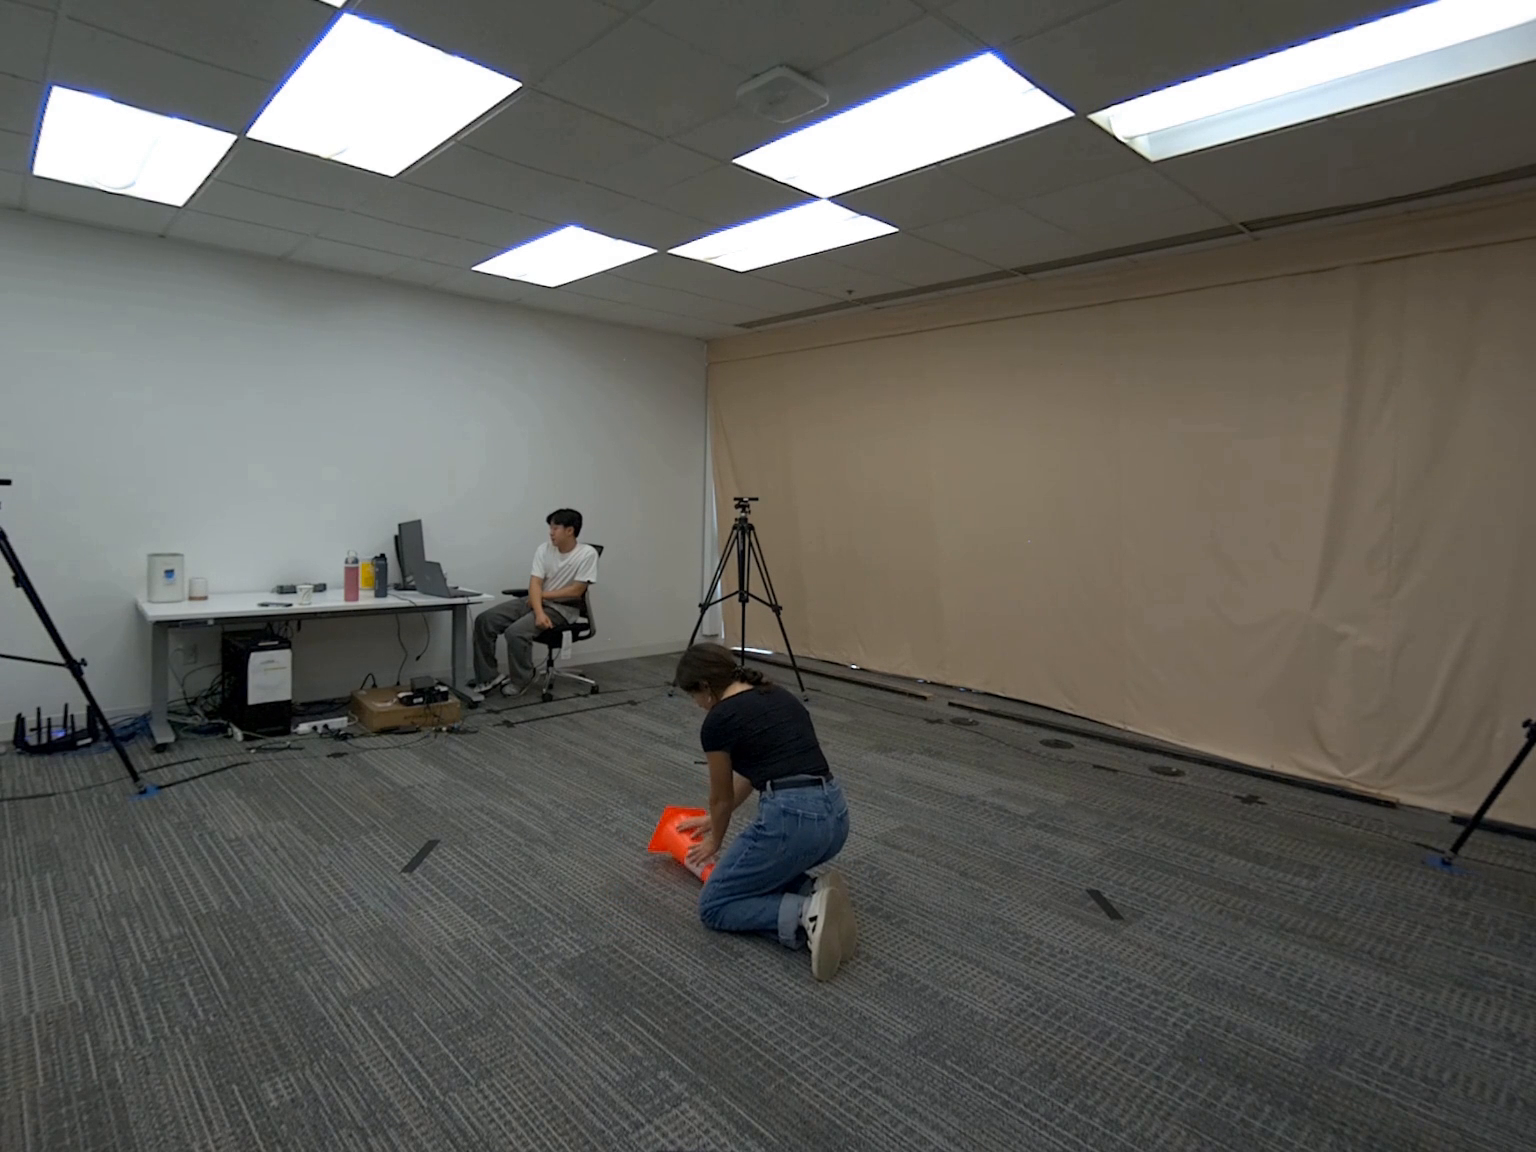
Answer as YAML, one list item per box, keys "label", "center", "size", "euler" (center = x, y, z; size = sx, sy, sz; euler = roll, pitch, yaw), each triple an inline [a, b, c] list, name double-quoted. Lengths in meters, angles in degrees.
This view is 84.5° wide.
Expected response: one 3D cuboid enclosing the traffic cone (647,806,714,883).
- label: "traffic cone"
  center: [-0.259, 1.052, 3.076]
  size: [0.199, 0.203, 0.396]
  euler: [18, 9, -38]
